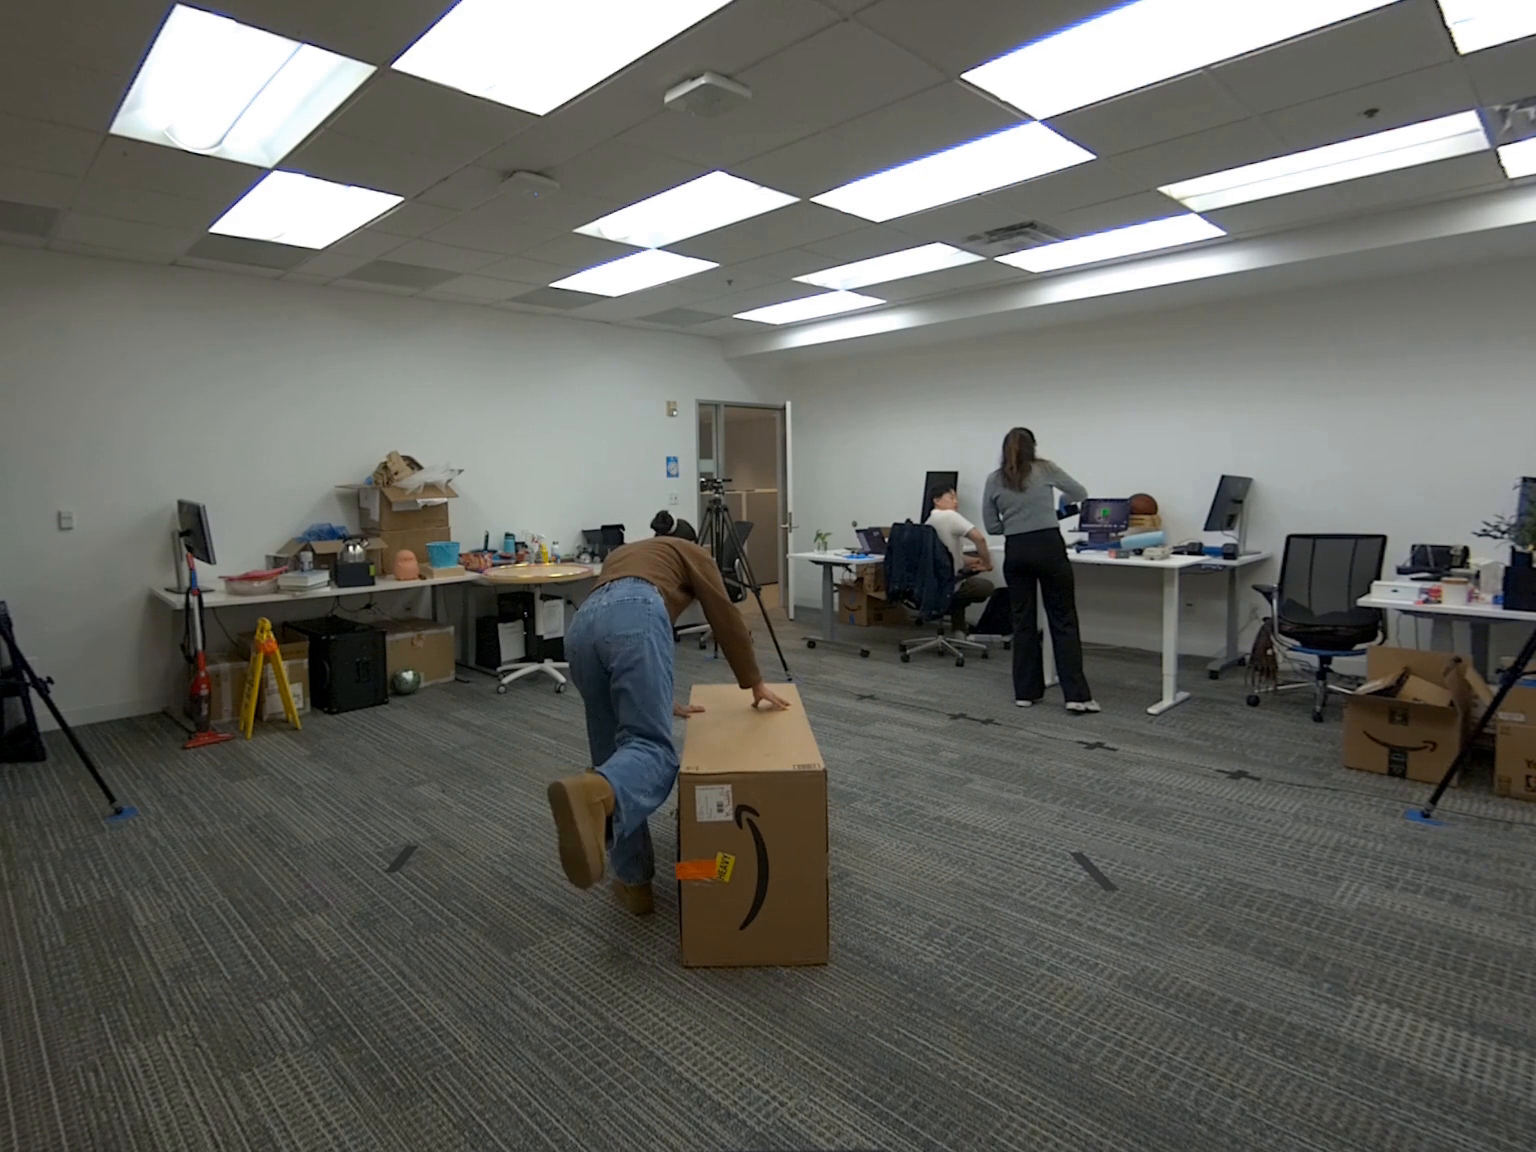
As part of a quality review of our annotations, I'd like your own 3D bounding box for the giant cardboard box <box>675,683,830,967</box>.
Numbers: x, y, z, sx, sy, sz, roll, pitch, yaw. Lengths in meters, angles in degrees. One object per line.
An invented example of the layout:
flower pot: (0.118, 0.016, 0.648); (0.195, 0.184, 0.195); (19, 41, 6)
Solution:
giant cardboard box: (-0.064, 0.779, 2.941); (0.446, 0.581, 1.032); (0, 5, -2)
